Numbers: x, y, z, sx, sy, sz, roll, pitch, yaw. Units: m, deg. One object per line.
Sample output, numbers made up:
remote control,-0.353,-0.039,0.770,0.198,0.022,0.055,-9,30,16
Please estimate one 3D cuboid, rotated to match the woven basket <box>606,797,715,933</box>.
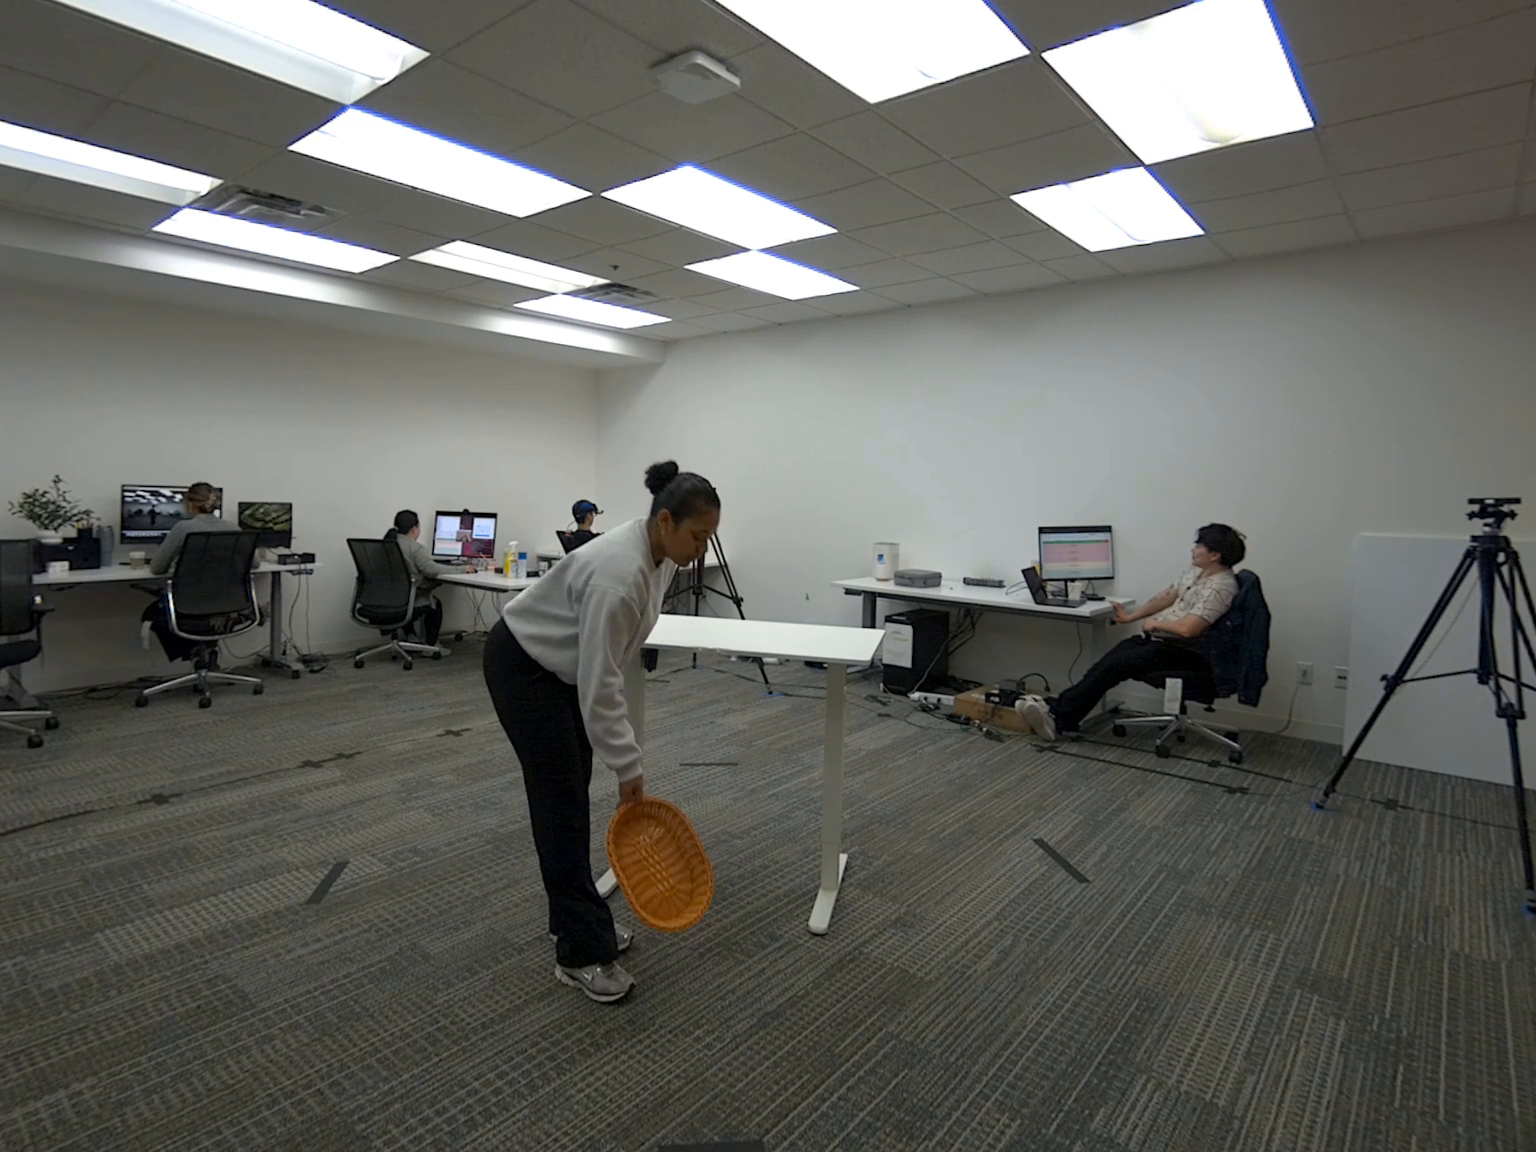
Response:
woven basket,-0.278,0.752,2.237,0.247,0.360,0.073,-13,-26,-29
